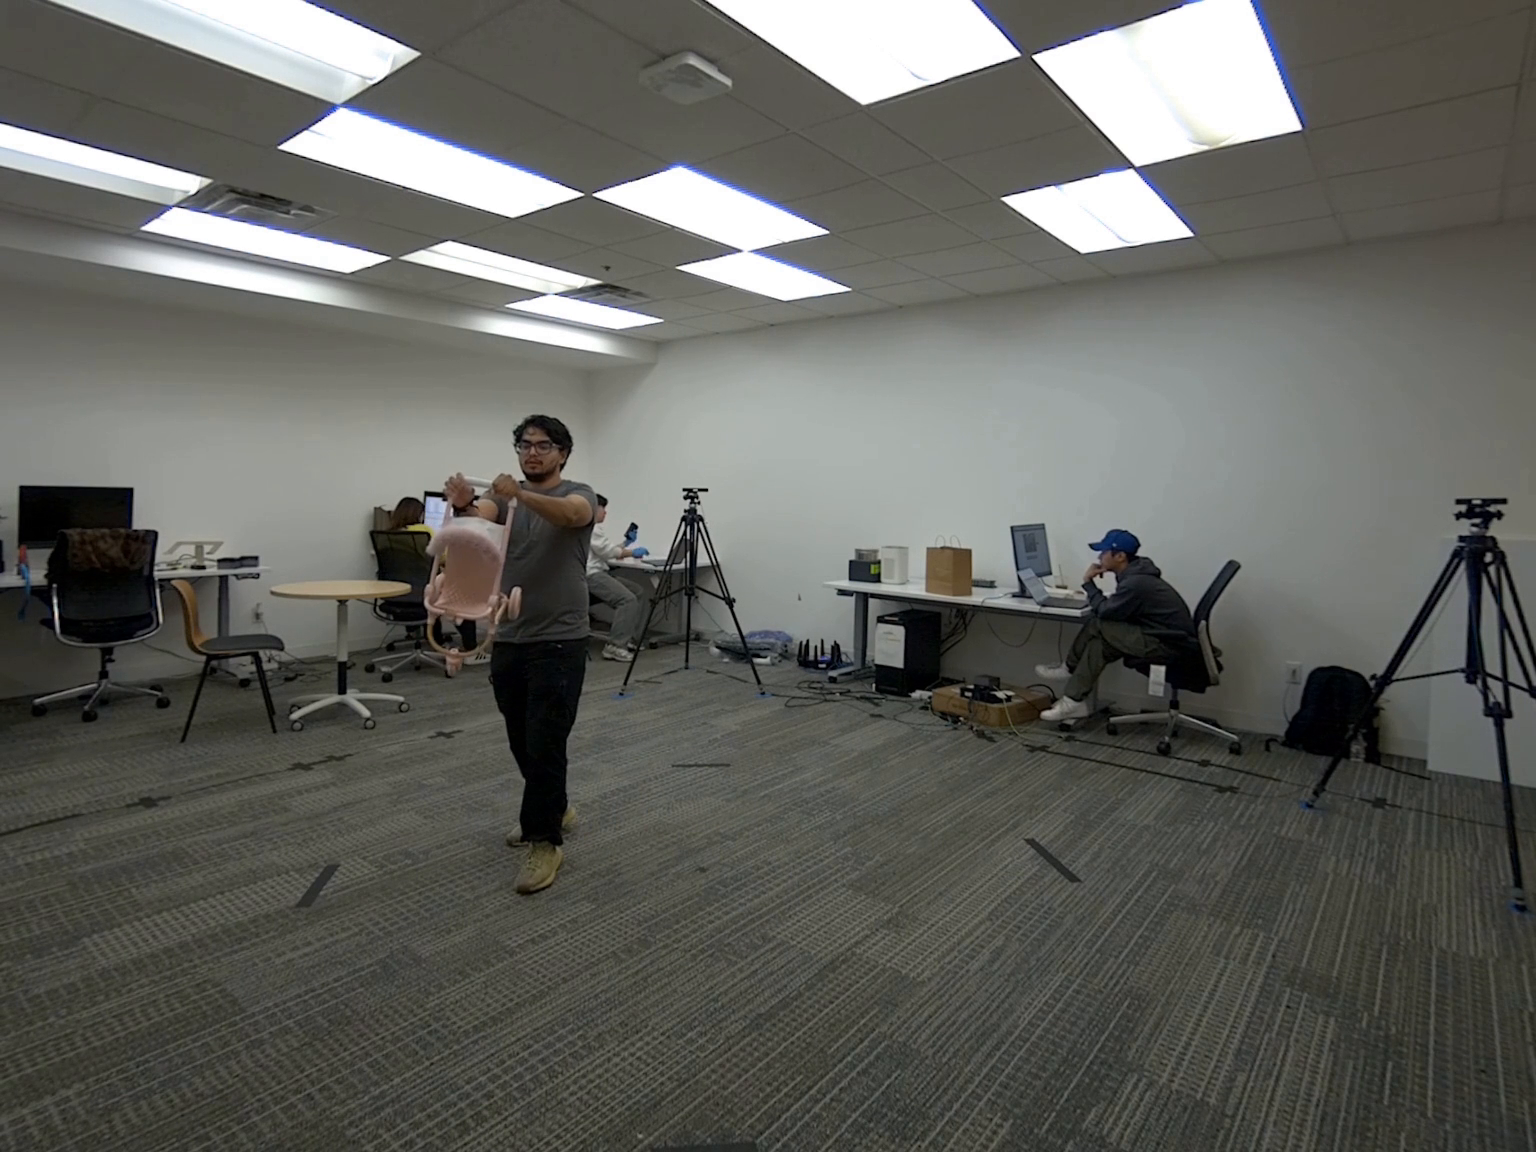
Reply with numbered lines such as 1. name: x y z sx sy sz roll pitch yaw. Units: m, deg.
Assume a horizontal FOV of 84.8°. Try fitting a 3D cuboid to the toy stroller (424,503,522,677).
1. toy stroller: -0.934 0.015 2.597 0.281 0.524 0.348 14 36 -2
